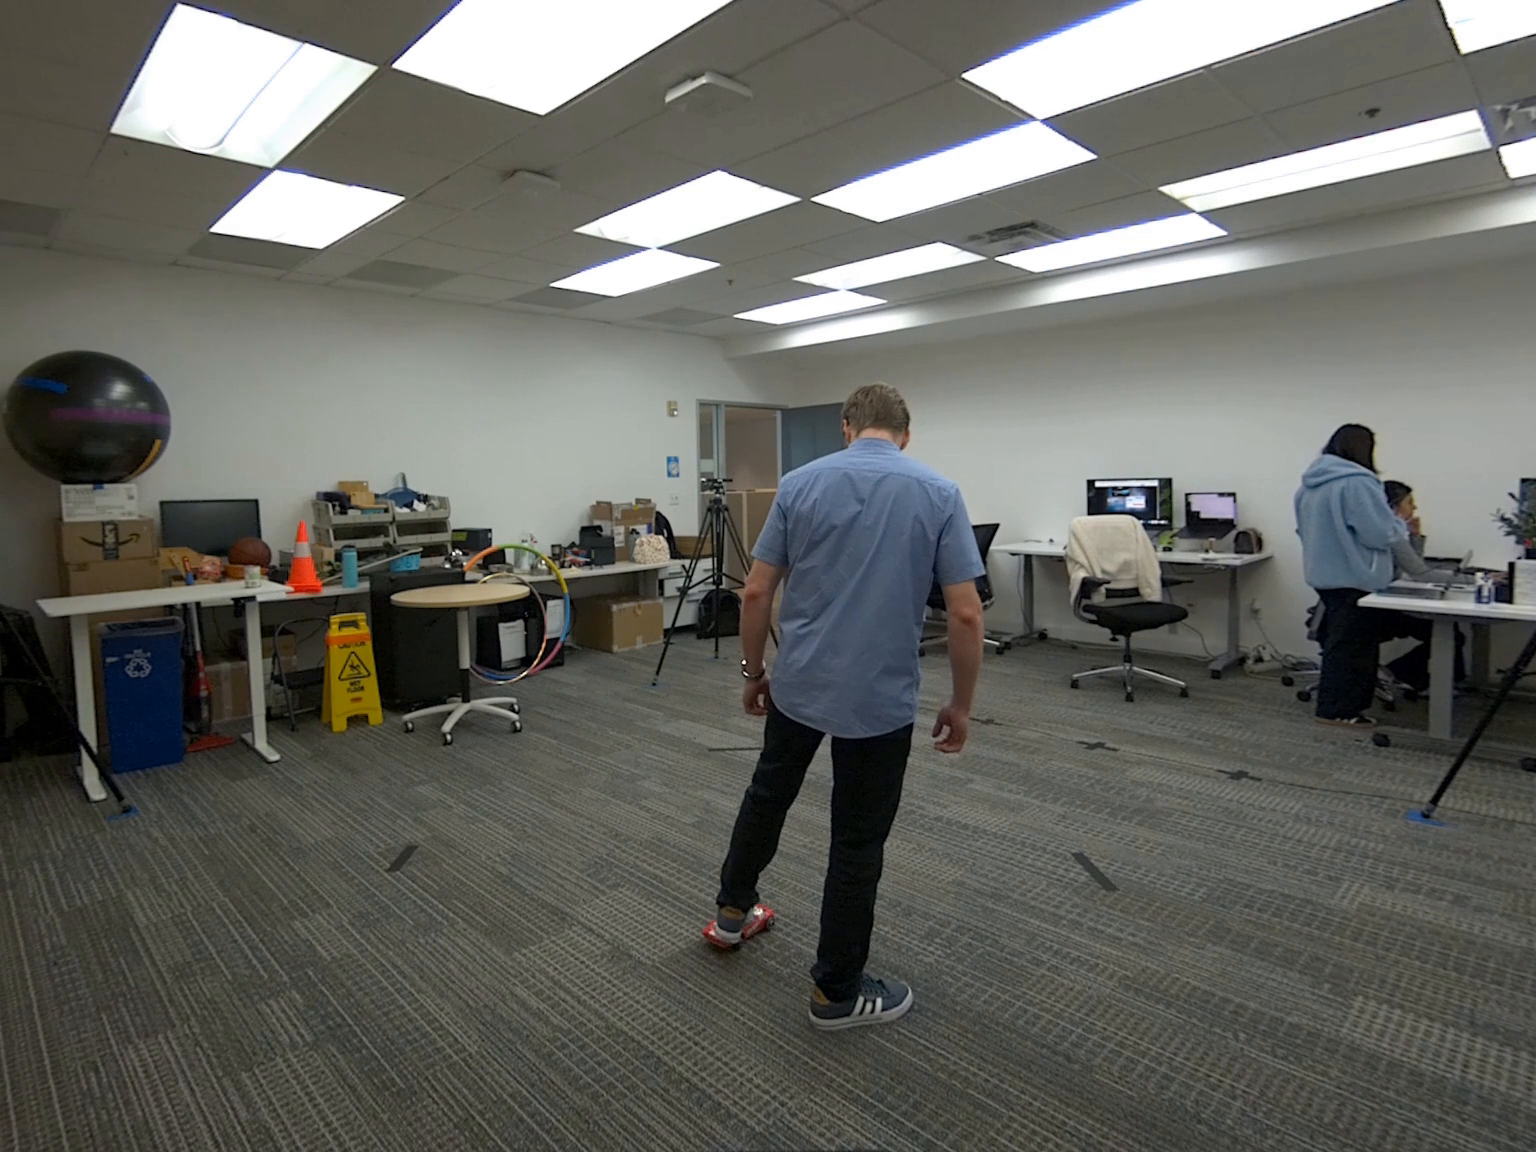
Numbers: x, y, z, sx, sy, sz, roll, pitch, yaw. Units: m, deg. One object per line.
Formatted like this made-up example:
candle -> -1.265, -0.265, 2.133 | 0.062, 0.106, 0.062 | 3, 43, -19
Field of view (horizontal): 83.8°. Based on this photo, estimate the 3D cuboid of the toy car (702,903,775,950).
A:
toy car -> -0.087, 1.074, 2.621 | 0.134, 0.083, 0.246 | 6, 0, 41
